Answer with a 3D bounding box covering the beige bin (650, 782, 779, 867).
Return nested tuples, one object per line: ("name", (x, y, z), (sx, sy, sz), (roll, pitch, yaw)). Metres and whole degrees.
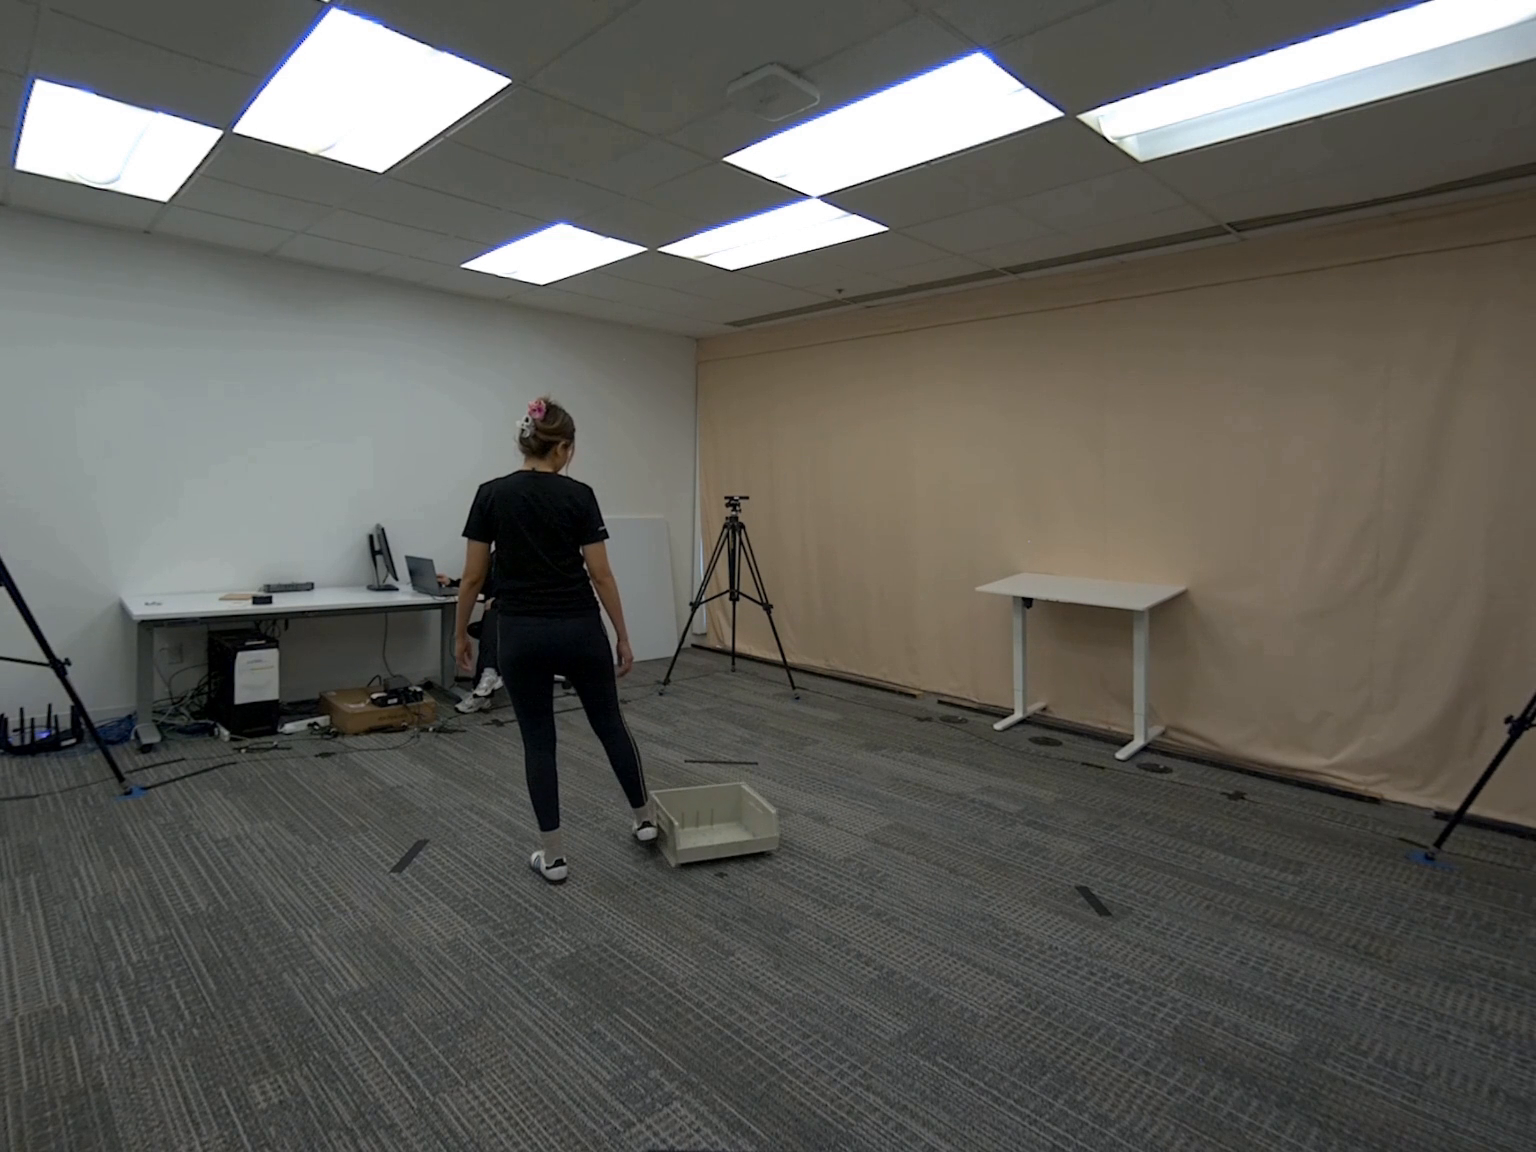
("beige bin", (-0.232, 0.991, 3.347), (0.415, 0.188, 0.385), (-1, 5, -24))
